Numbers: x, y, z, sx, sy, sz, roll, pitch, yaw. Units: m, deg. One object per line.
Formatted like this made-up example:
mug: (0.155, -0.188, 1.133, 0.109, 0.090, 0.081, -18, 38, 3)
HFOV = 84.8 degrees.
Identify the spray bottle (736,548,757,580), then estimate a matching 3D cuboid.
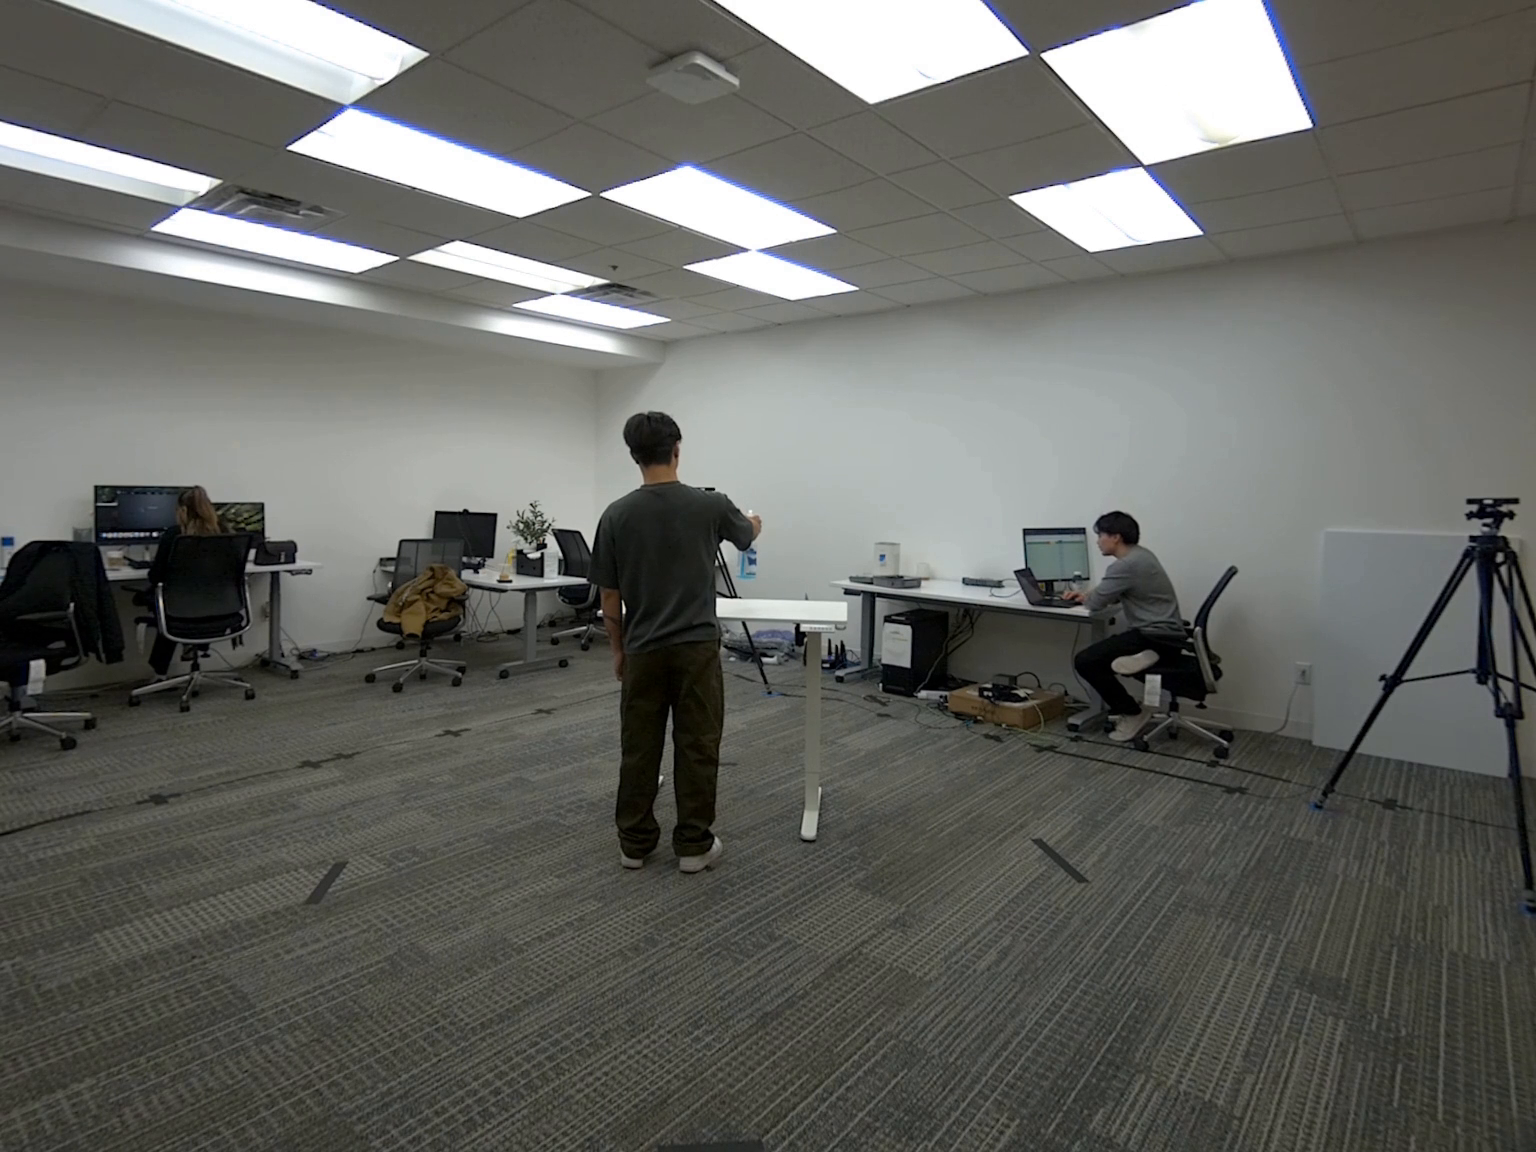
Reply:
spray bottle: (-0.091, -0.137, 3.641, 0.089, 0.297, 0.088, 4, 1, 23)
